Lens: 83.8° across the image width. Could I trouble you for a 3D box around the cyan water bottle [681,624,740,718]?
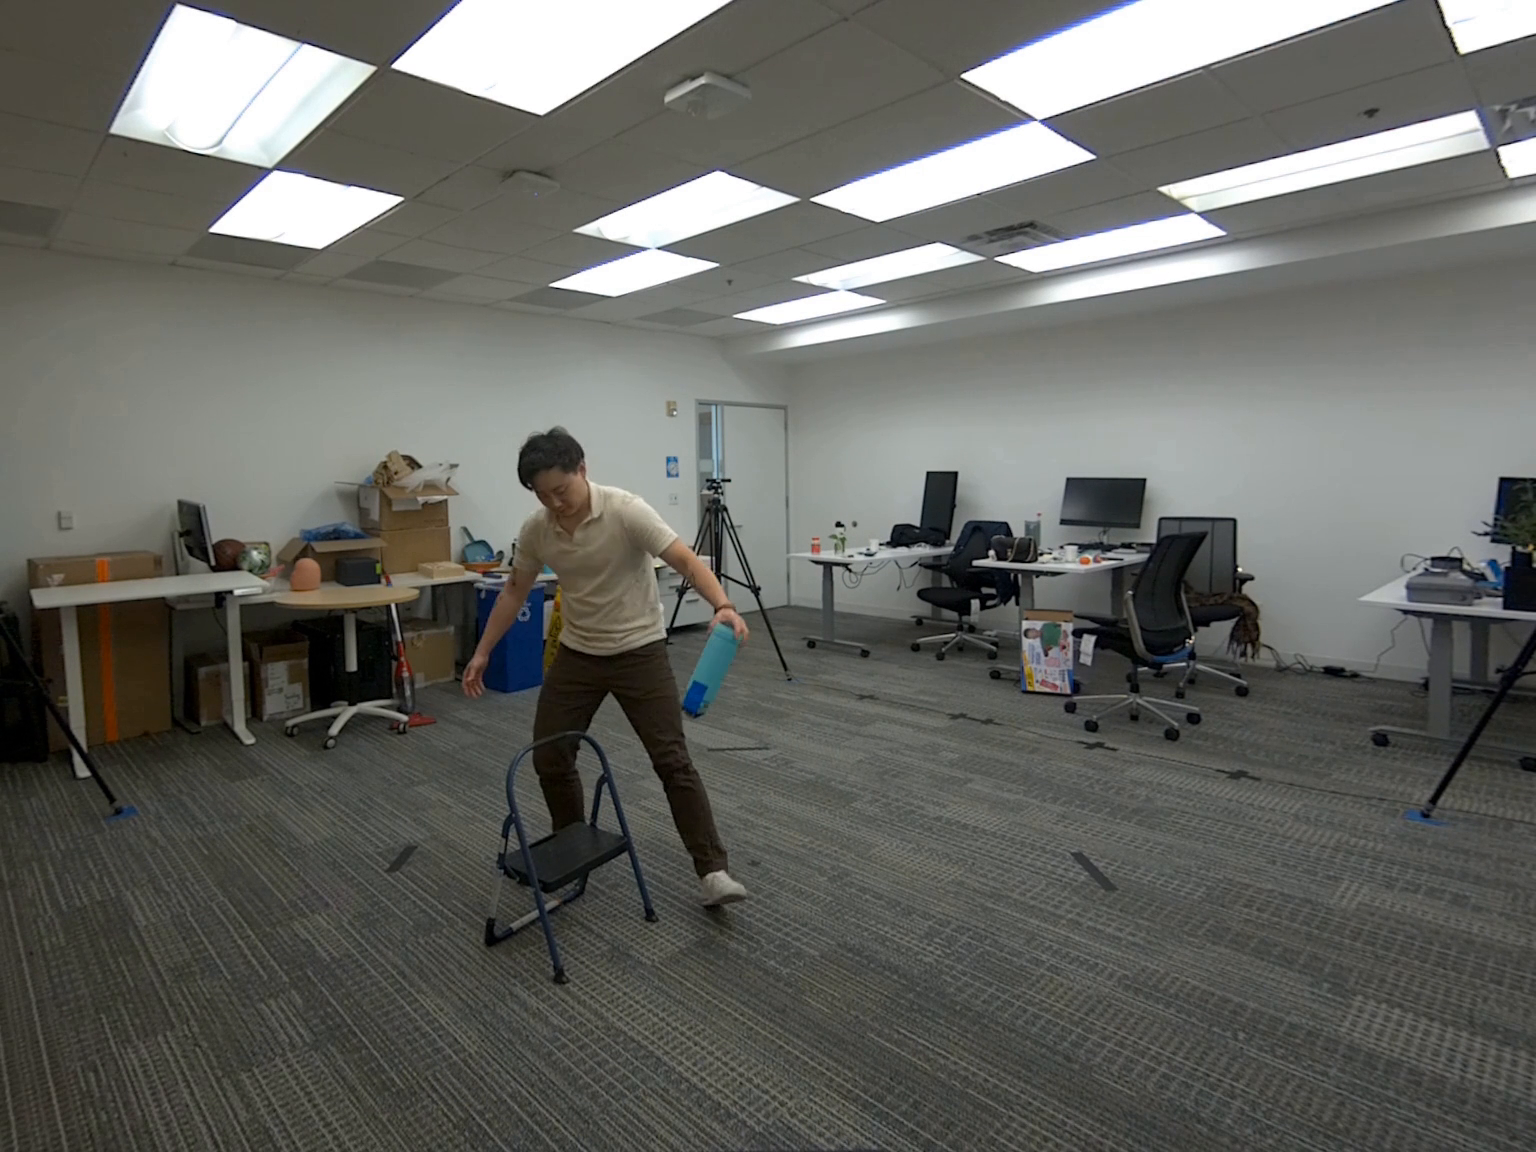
[{"bbox_3d":[-0.184,0.299,2.505,0.092,0.283,0.092,22,1,-3],"label":"cyan water bottle"}]
